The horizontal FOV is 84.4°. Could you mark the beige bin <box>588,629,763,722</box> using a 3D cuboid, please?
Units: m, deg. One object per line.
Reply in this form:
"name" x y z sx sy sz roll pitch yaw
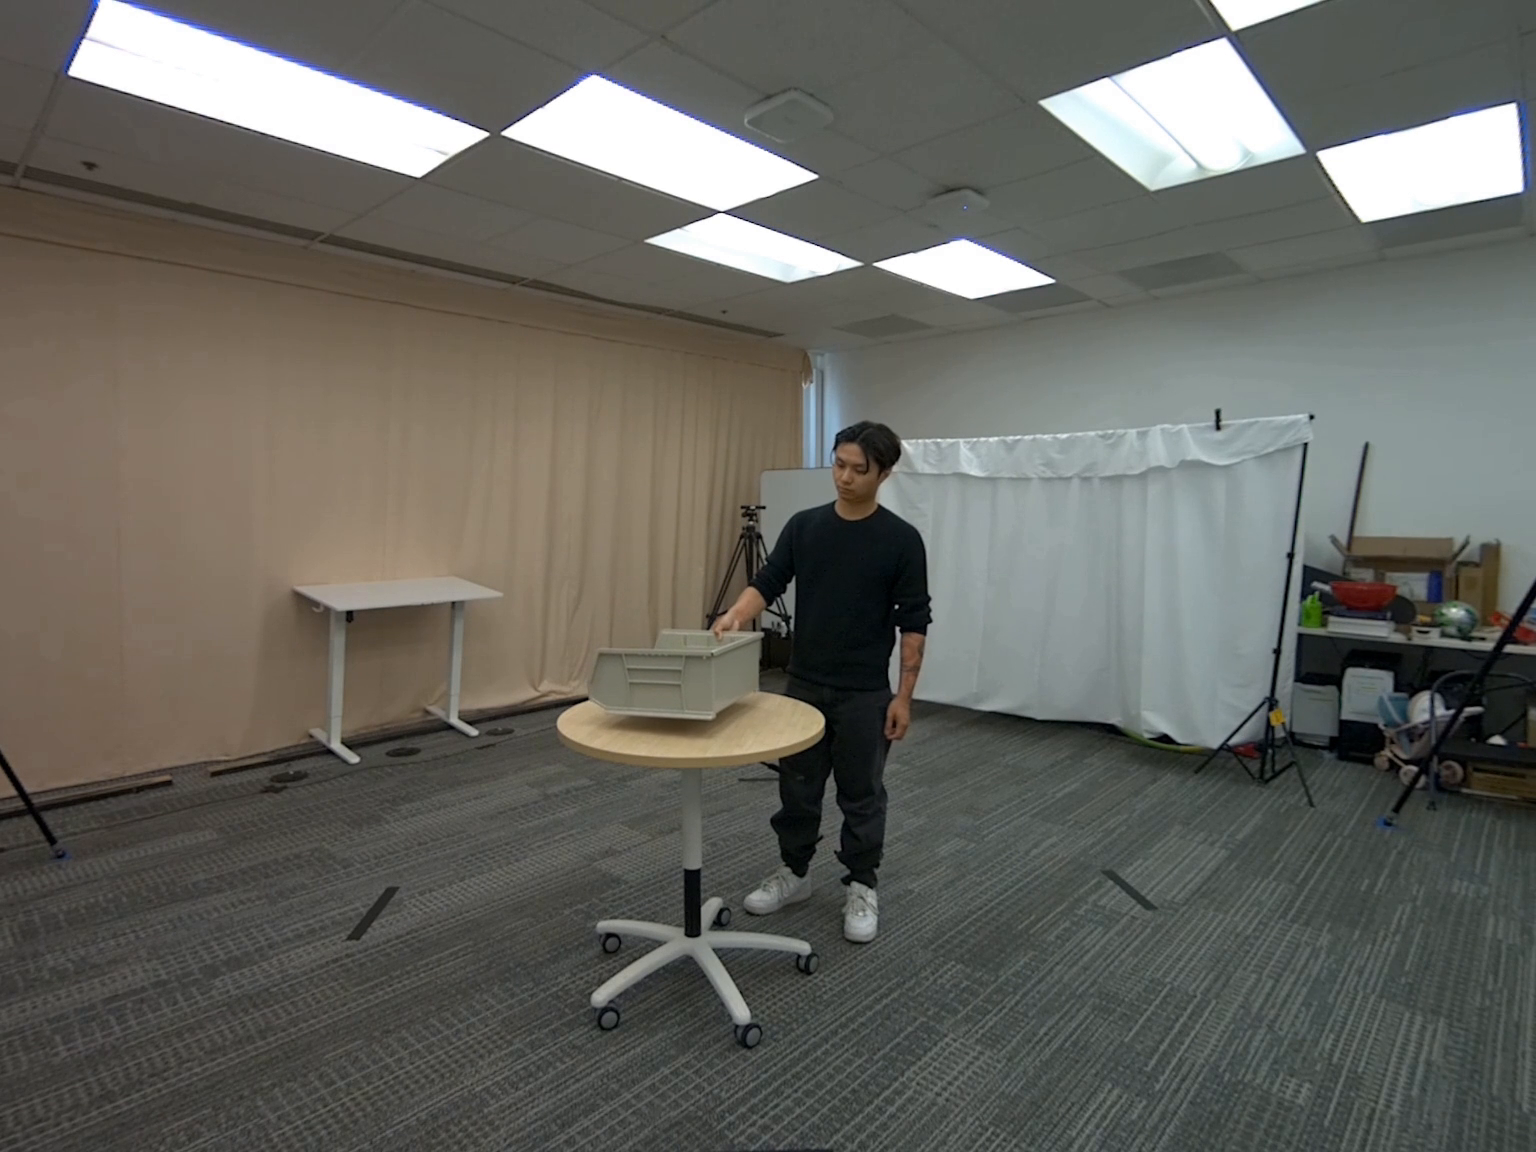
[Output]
"beige bin" -0.256 0.279 2.428 0.385 0.189 0.415 0 3 18
